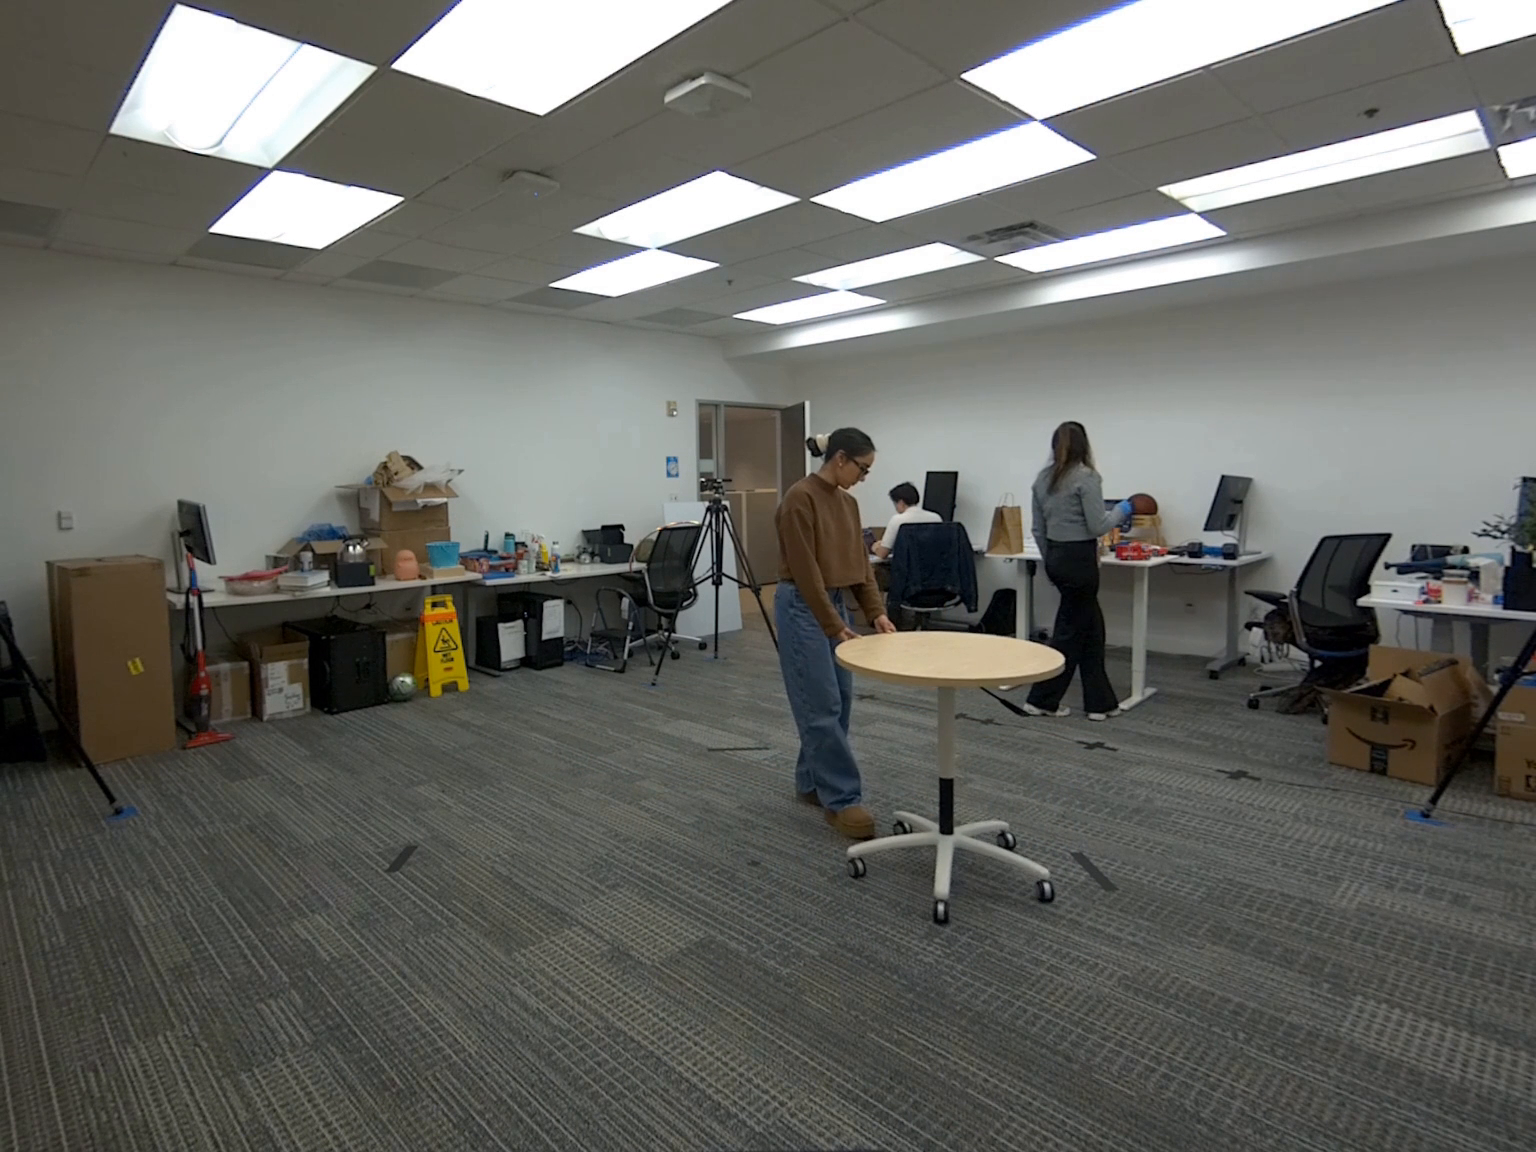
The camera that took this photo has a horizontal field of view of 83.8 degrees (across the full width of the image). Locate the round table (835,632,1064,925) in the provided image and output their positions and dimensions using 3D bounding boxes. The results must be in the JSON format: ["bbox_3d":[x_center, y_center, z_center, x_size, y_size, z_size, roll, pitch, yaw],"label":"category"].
[{"bbox_3d":[0.626,0.657,2.991,0.763,0.791,0.768,0,5,-2],"label":"round table"}]
